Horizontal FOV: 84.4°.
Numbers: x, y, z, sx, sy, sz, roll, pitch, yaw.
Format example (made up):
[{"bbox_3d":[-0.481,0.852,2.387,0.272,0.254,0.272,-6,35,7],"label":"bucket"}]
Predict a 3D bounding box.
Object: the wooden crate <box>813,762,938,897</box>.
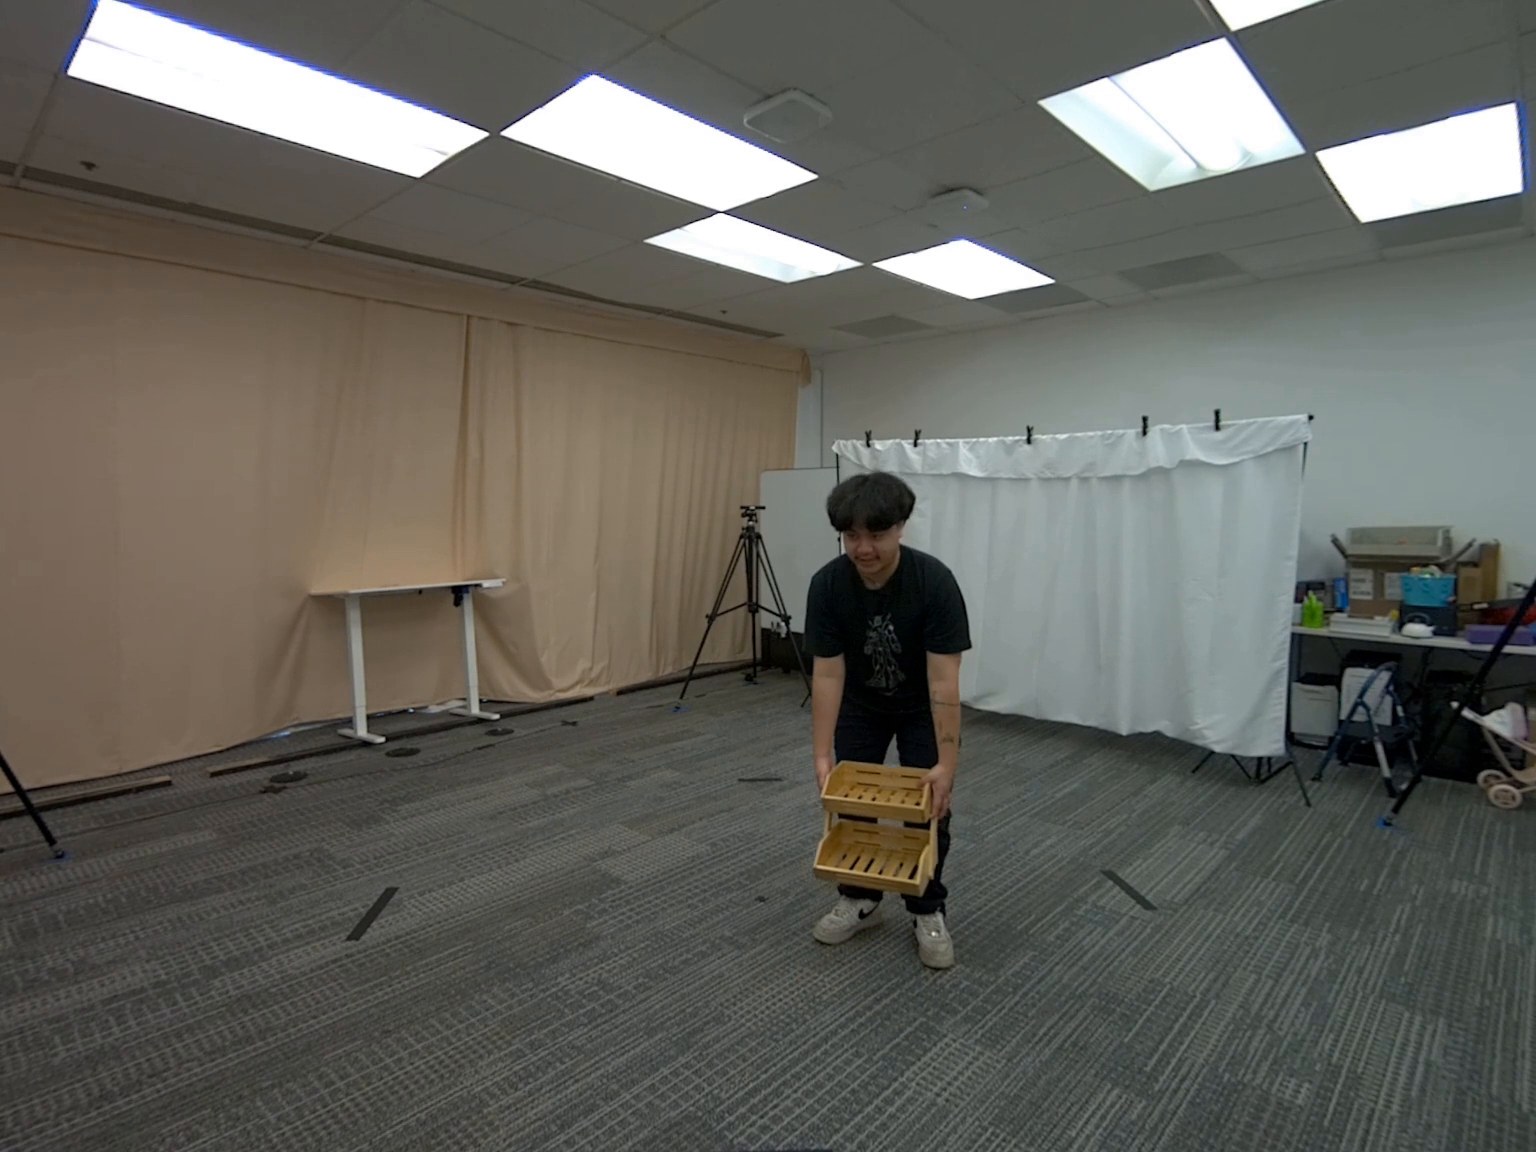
[{"bbox_3d":[0.329,0.721,2.460,0.332,0.272,0.296,0,5,24],"label":"wooden crate"}]
